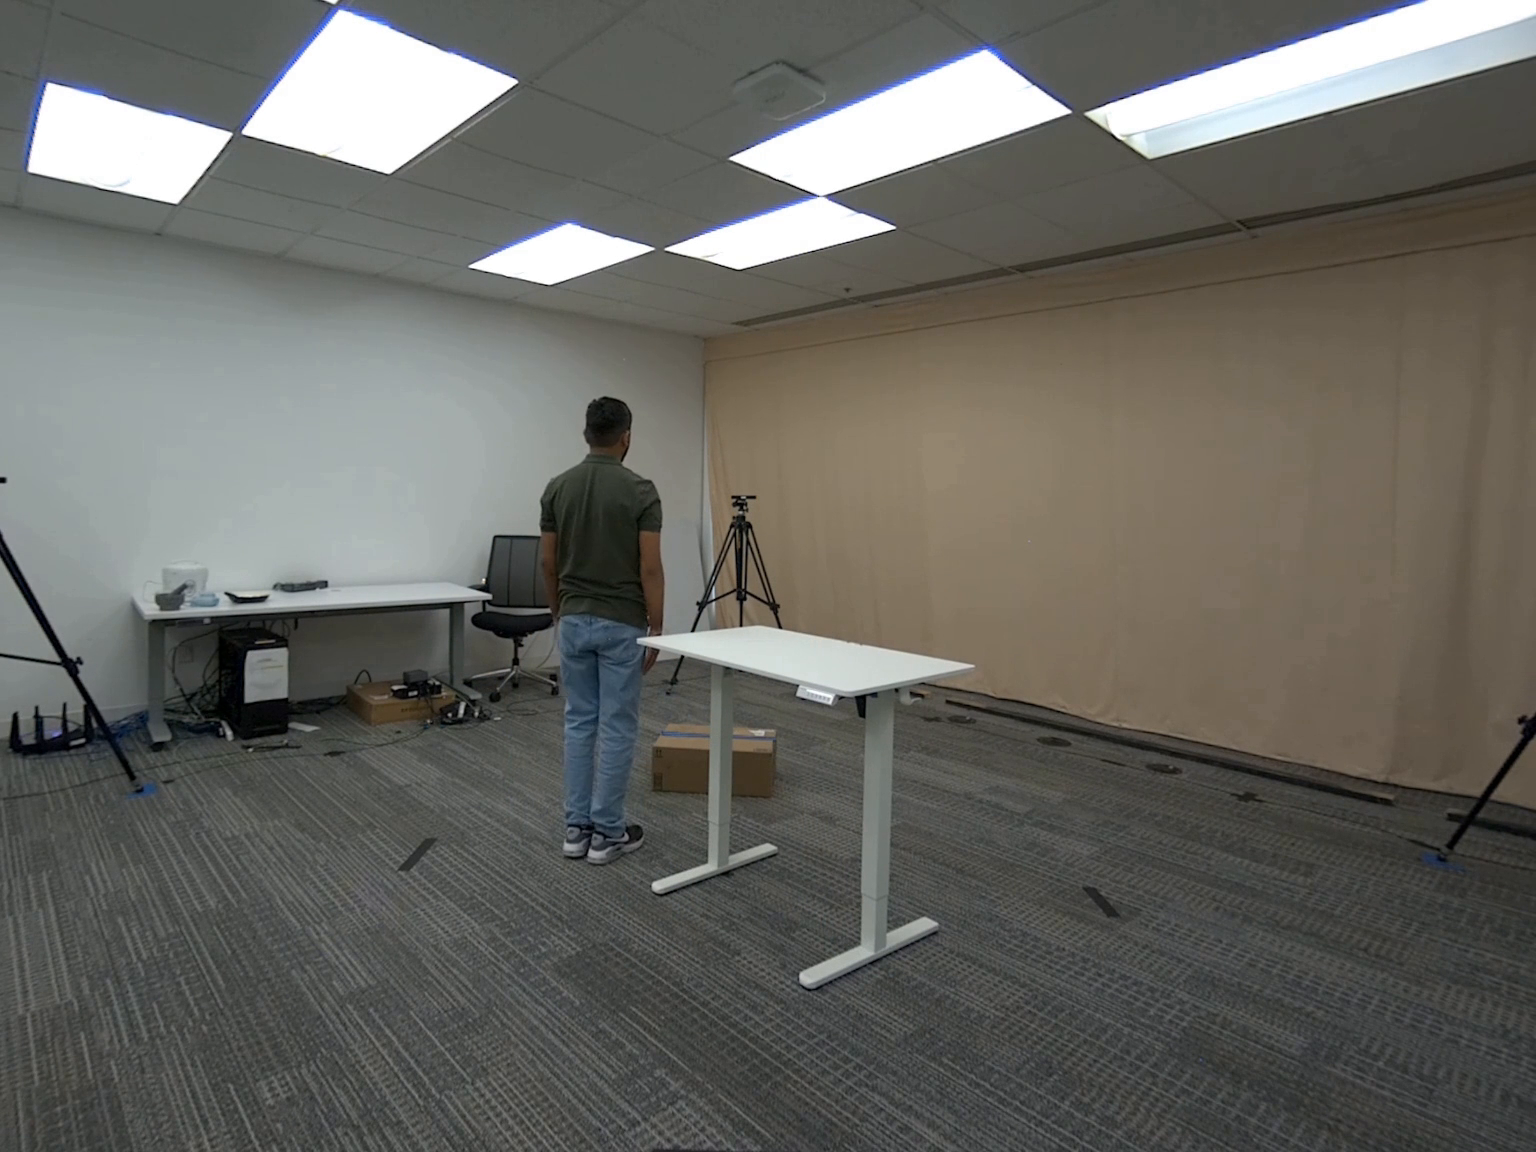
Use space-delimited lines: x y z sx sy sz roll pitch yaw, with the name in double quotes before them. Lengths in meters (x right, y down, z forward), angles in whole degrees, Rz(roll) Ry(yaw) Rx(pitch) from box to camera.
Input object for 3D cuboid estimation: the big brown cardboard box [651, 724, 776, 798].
"big brown cardboard box" -0.253 0.889 4.136 0.591 0.232 0.417 1 4 4
